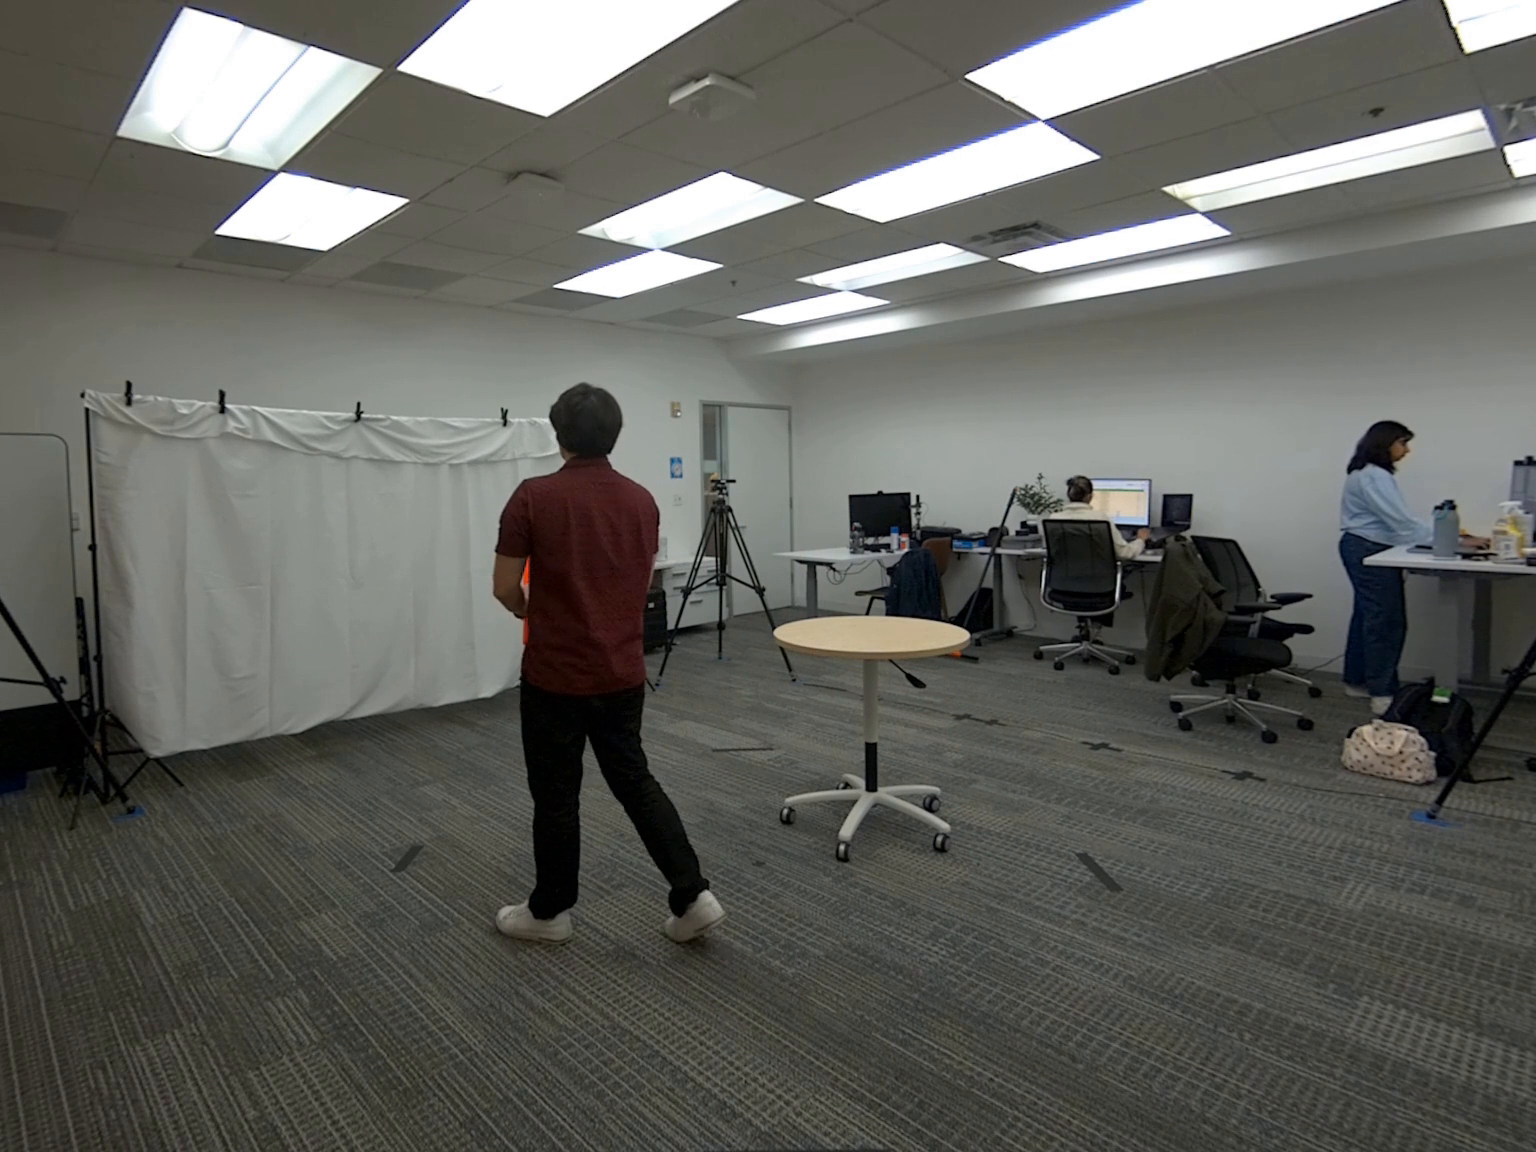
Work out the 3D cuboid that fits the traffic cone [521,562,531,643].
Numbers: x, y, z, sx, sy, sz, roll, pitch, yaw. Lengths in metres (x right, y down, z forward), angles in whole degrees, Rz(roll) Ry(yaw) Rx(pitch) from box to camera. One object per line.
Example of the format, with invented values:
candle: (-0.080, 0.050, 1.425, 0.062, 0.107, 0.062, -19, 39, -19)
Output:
traffic cone: (-0.755, 0.075, 2.822, 0.202, 0.395, 0.200, 8, -44, -15)
